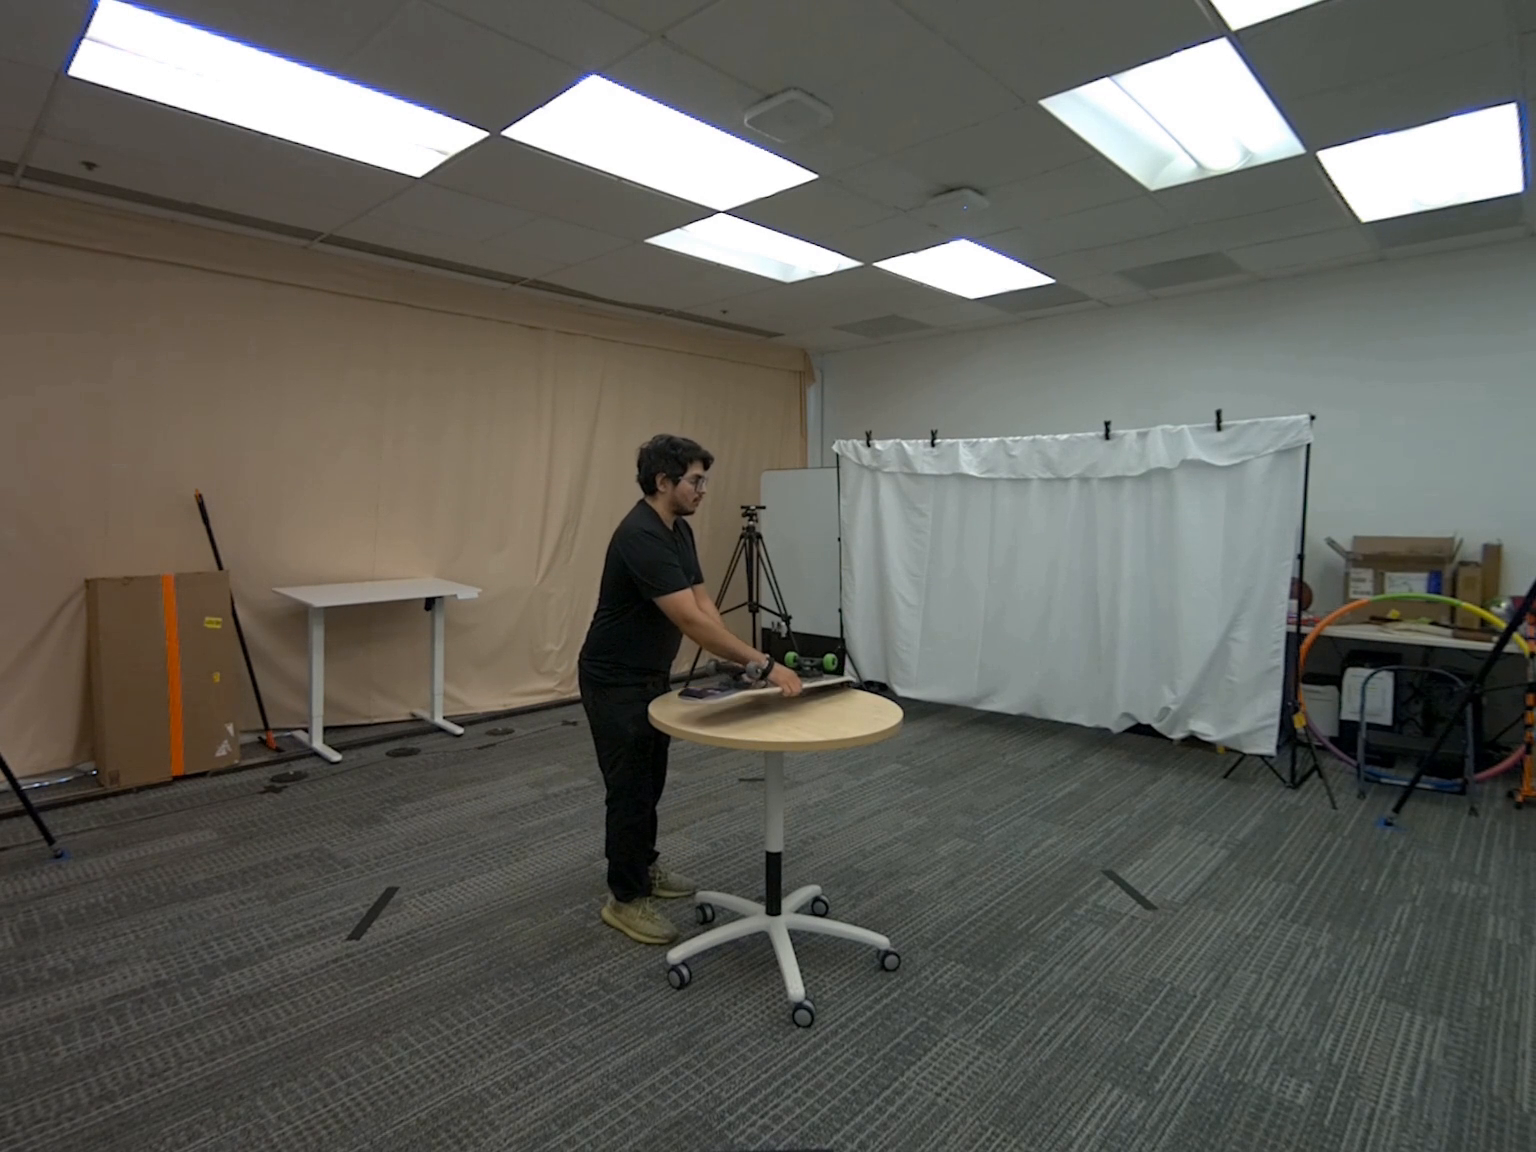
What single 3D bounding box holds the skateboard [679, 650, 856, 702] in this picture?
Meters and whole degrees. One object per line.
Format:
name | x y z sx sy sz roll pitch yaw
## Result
skateboard | 0.024 0.313 2.593 0.199 0.110 0.760 -1 0 40
